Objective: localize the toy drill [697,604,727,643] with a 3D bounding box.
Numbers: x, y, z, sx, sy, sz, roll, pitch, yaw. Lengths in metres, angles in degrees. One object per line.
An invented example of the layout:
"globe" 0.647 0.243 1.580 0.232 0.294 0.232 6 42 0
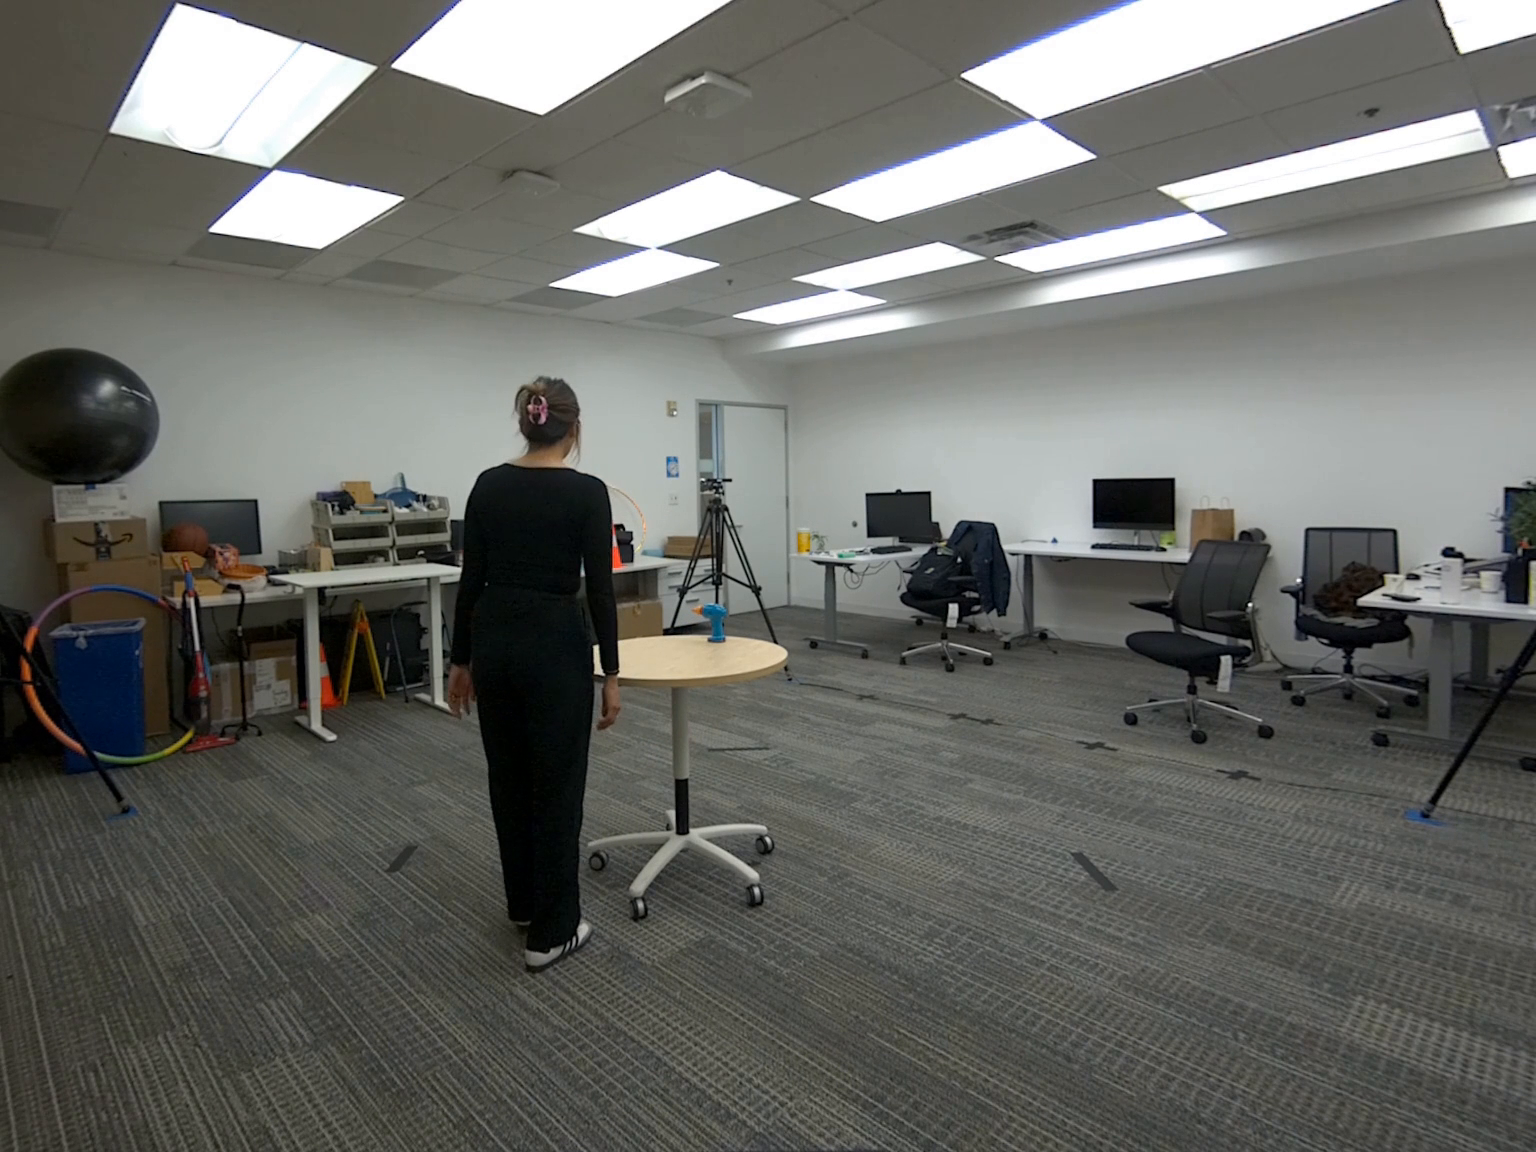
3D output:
"toy drill" -0.226 0.175 3.267 0.175 0.145 0.059 1 4 37
